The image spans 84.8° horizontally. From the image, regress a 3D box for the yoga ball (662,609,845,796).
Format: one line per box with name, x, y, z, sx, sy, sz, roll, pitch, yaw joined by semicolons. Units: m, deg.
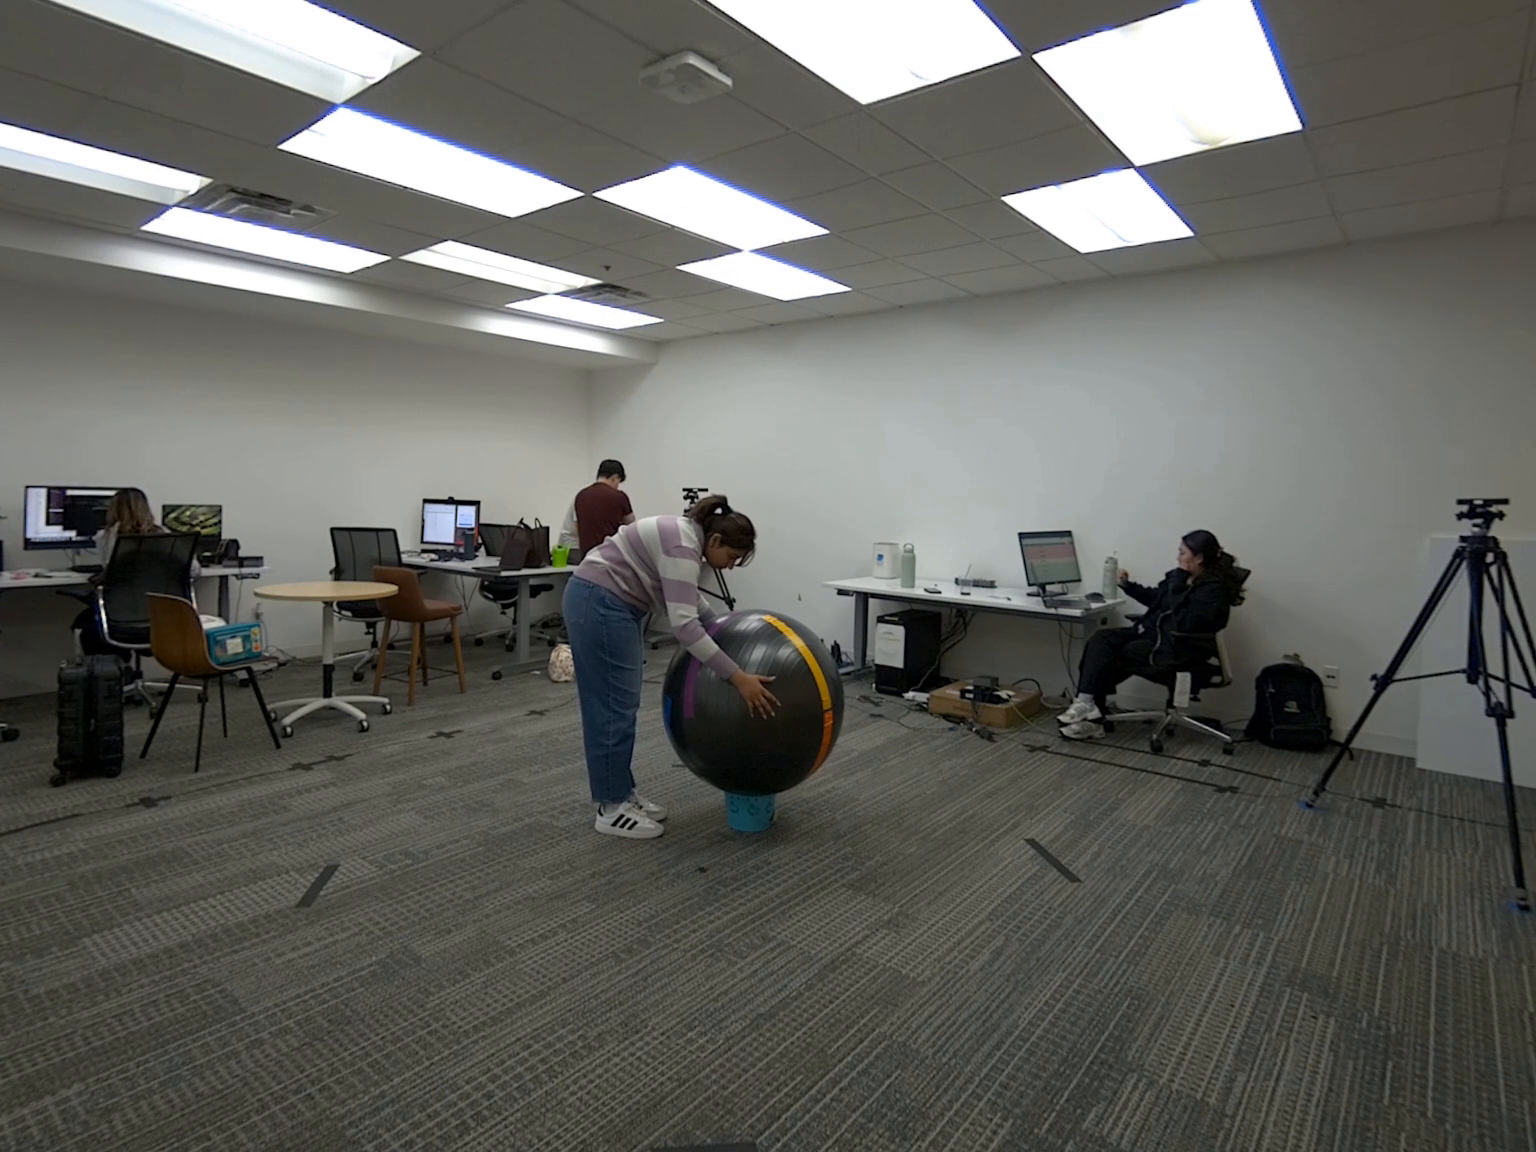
yoga ball;-0.072;0.520;3.531;0.757;0.756;0.761;1;4;-2
